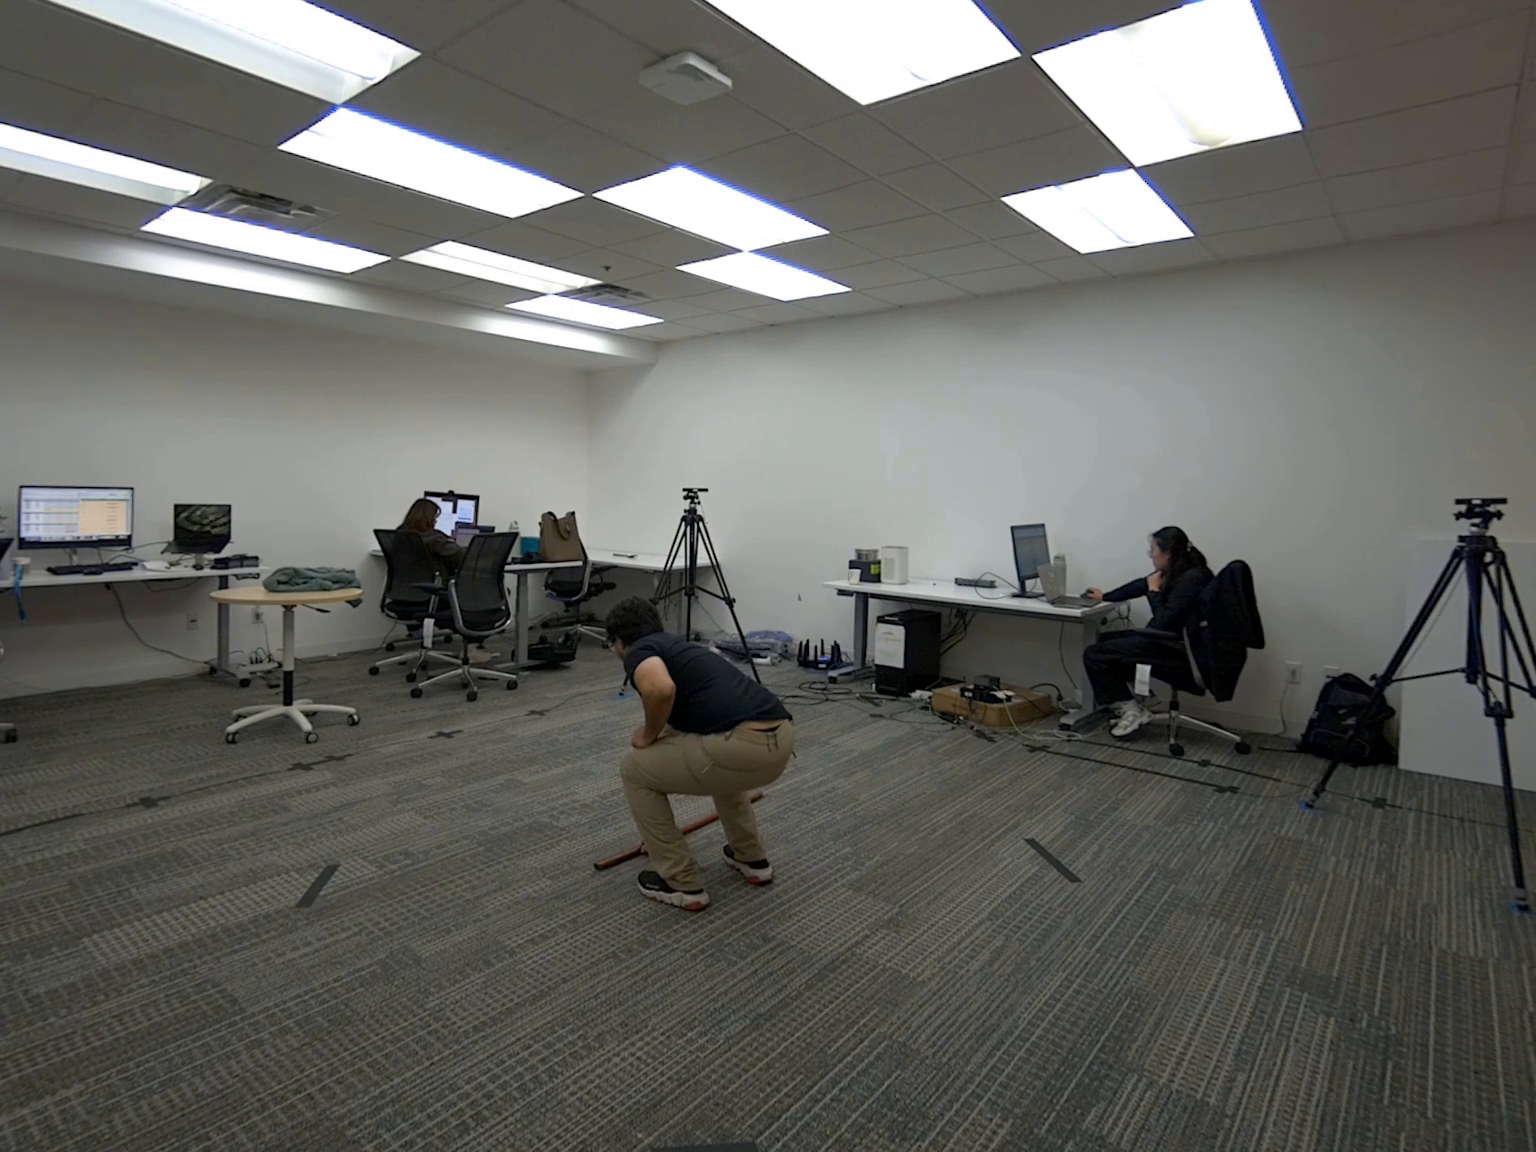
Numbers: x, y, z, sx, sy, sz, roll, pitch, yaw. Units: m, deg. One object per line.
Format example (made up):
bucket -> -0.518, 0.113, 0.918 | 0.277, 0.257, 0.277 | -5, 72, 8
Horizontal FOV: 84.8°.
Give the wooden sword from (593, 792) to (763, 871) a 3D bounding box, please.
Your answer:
wooden sword -> -0.323, 1.010, 3.462 | 0.053, 0.024, 0.995 | 13, 11, 34
